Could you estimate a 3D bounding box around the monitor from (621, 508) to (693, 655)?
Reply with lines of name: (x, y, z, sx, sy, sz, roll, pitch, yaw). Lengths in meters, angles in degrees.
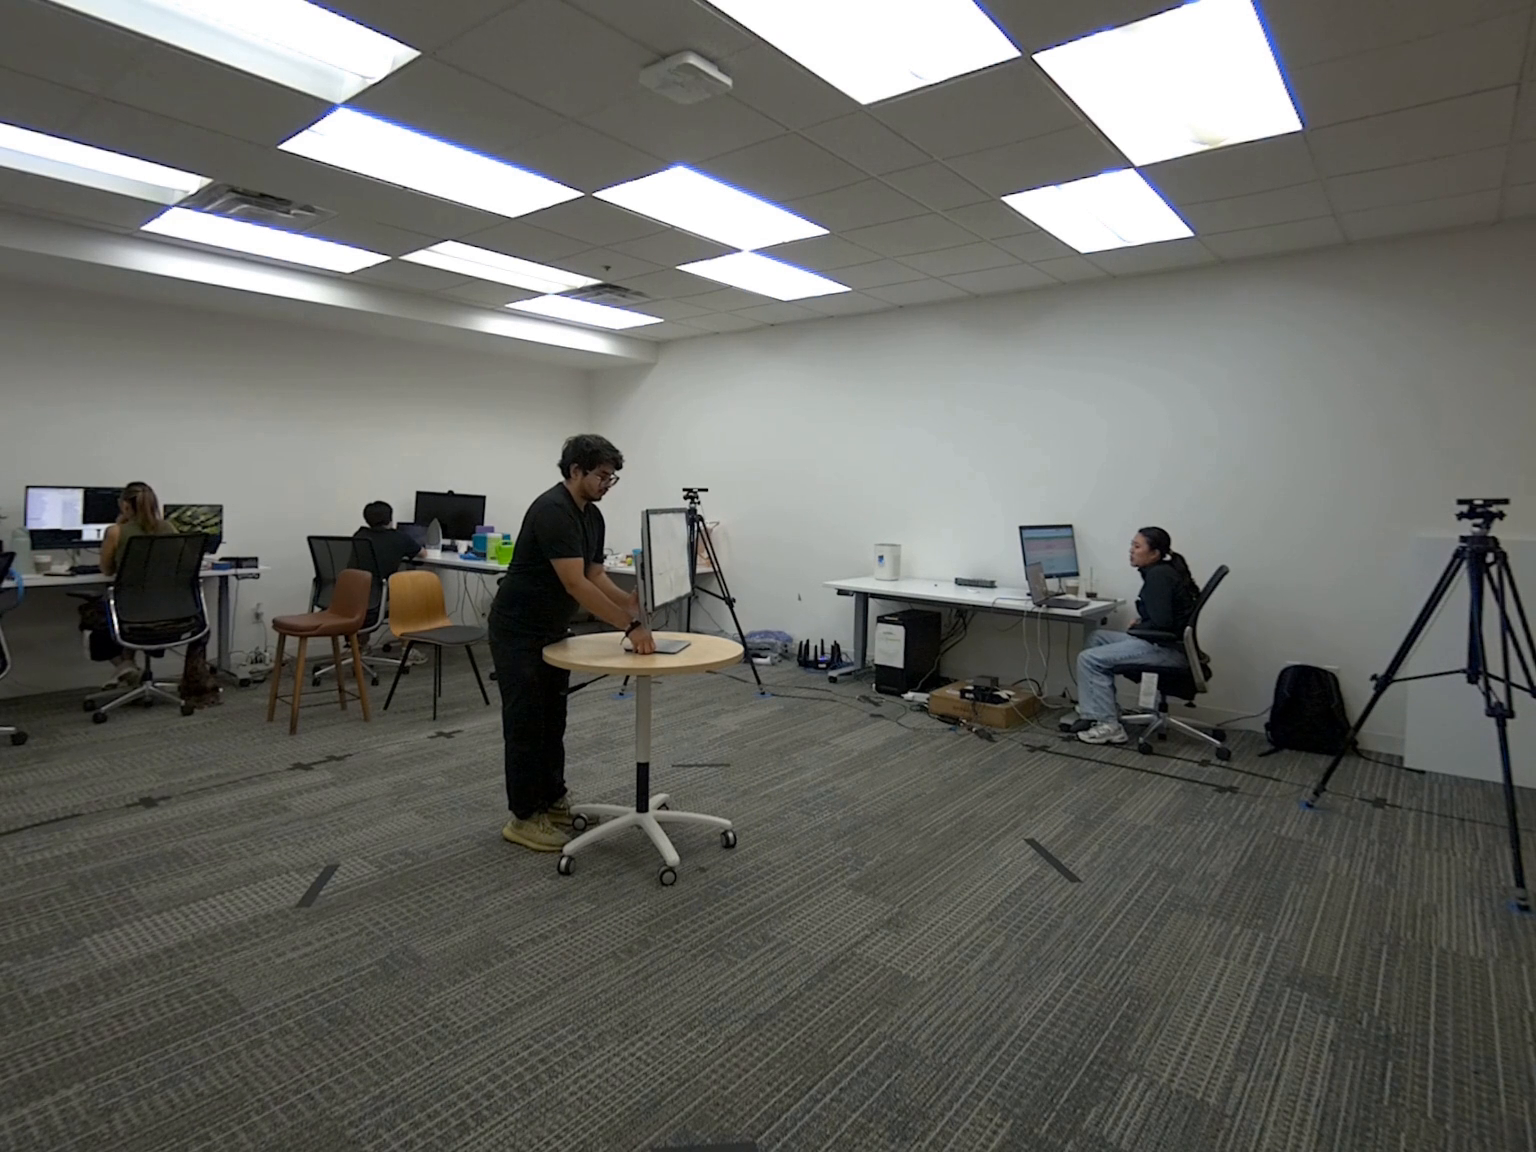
monitor: (-0.450, 0.010, 3.261, 0.213, 0.553, 0.560, 0, 3, 10)
